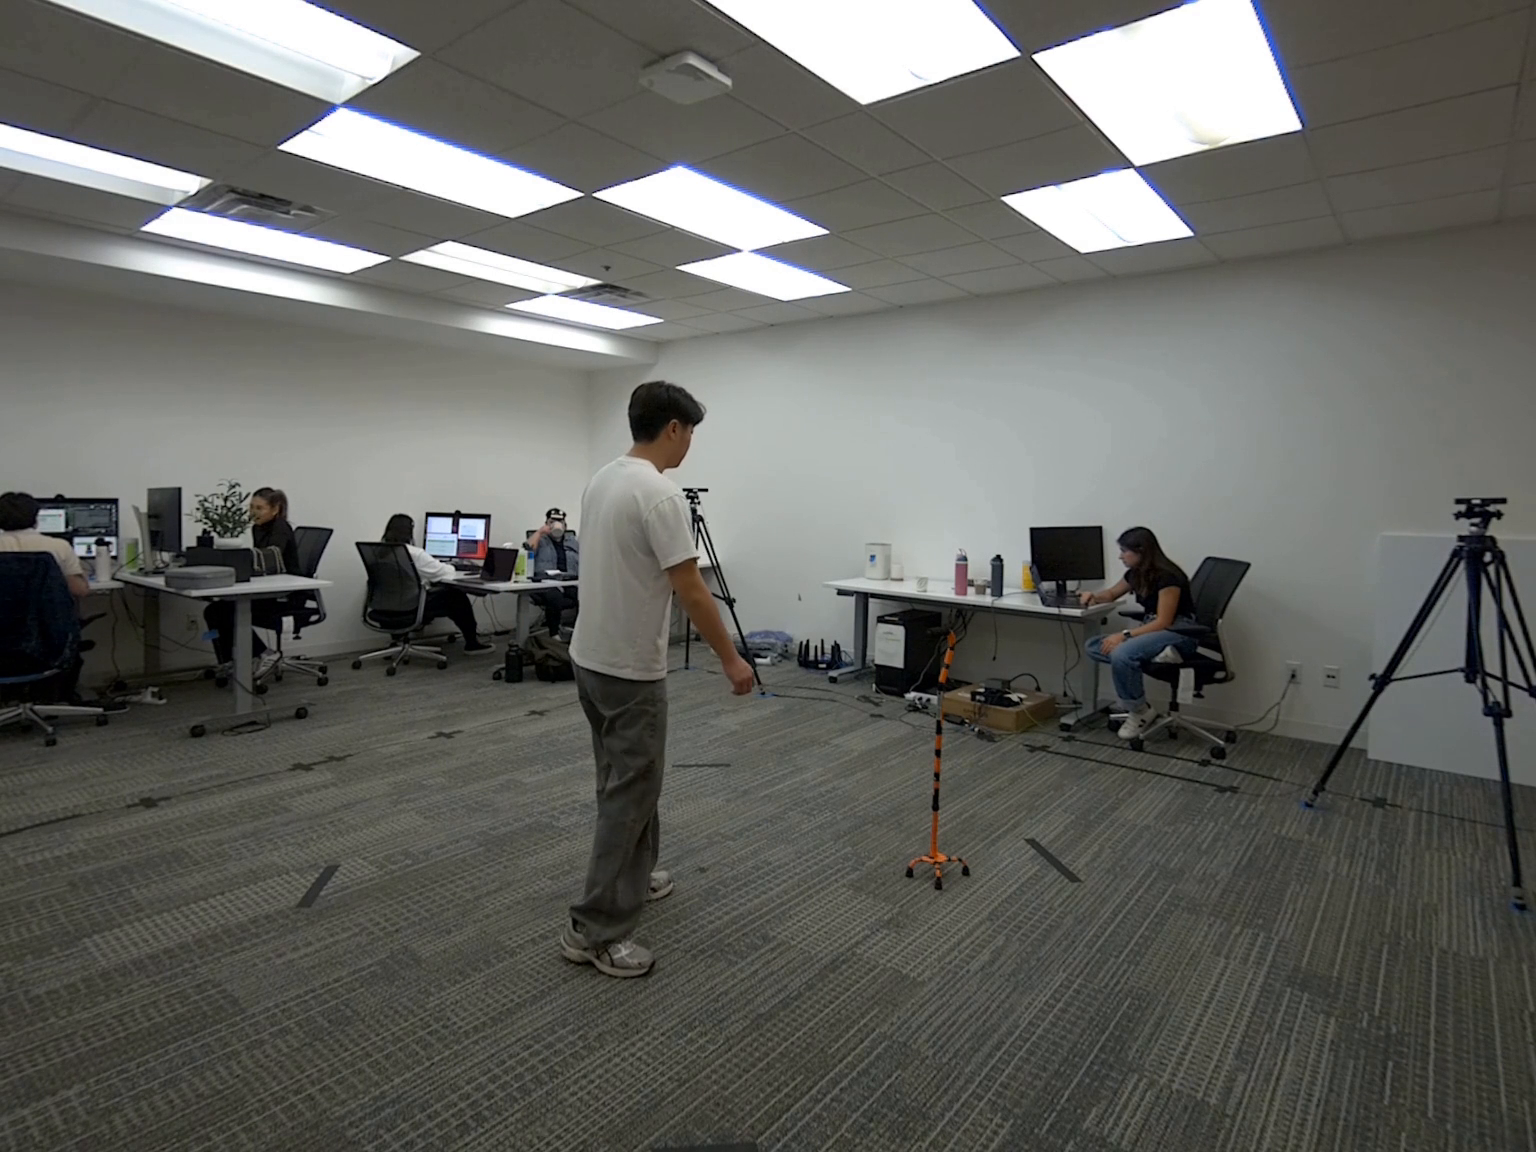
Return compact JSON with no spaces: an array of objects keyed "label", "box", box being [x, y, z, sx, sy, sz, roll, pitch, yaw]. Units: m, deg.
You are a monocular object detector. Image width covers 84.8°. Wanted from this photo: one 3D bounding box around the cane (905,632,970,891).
[{"label":"cane","box":[0.636,0.630,3.081,0.200,0.905,0.157,-2,4,-41]}]
